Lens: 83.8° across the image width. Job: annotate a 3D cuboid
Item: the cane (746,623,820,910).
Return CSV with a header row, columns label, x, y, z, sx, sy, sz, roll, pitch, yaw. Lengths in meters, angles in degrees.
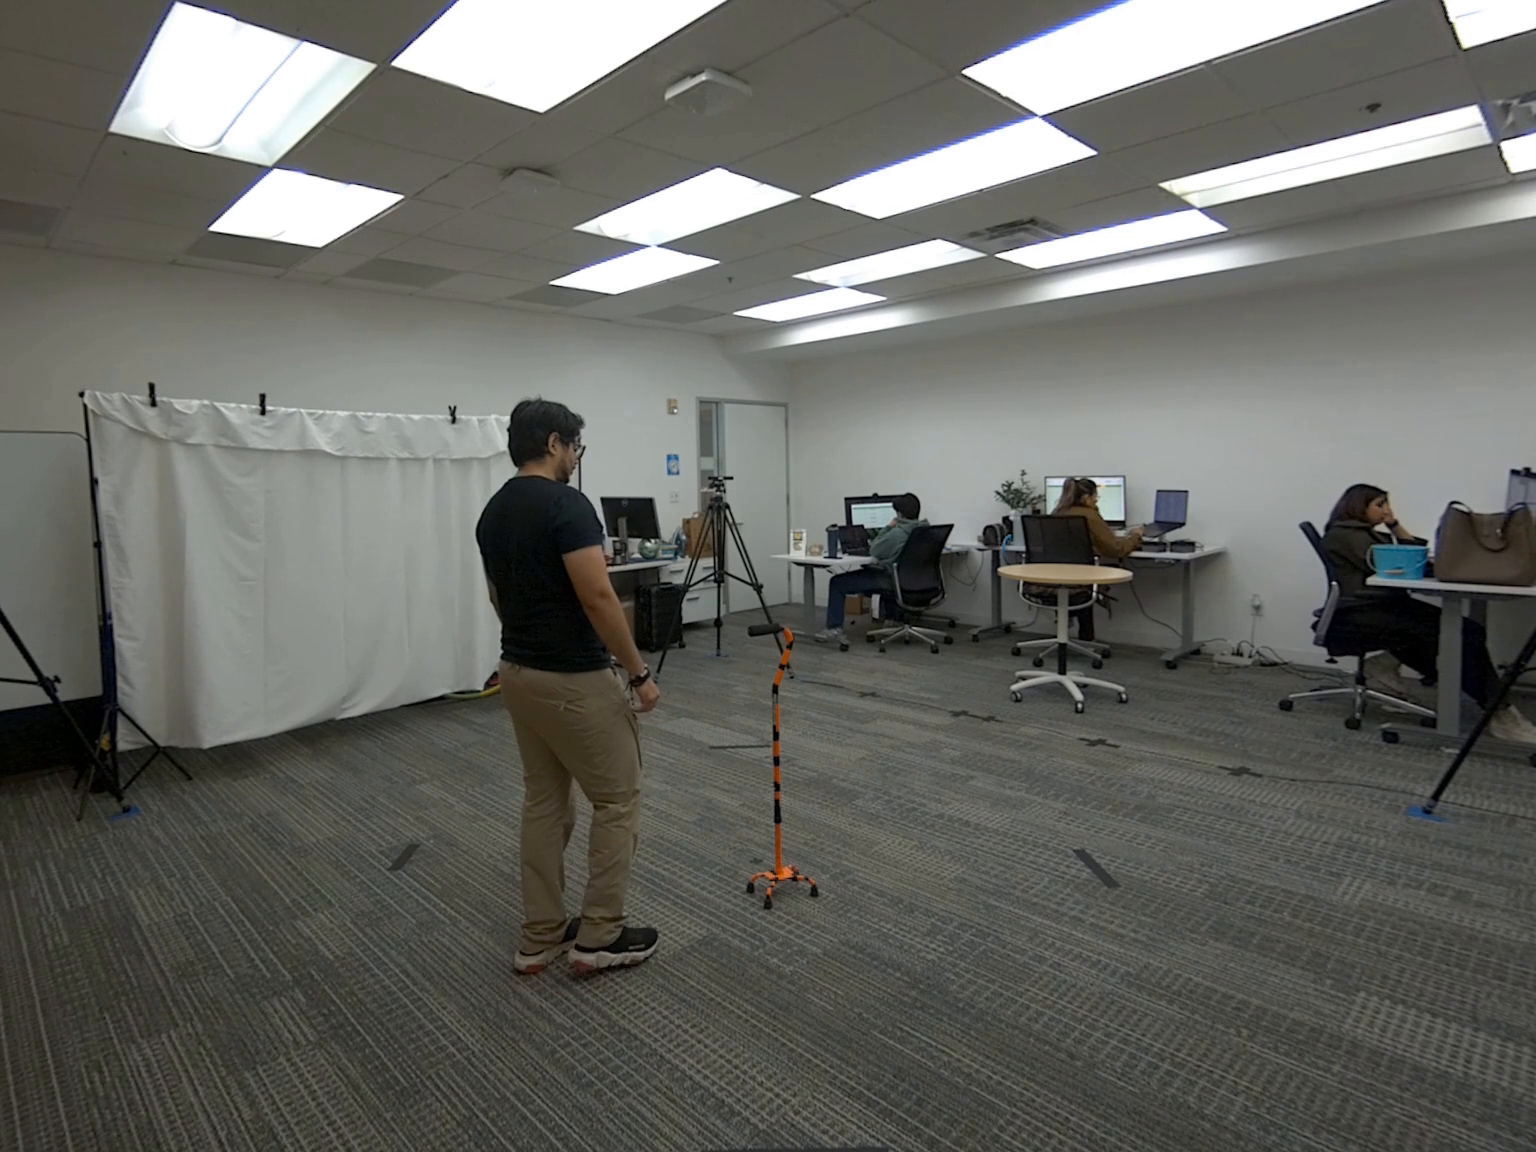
label,x,y,z,sx,sy,sz,roll,pitch,yaw
cane,0.037,0.614,2.829,0.202,0.904,0.155,-4,5,-26
